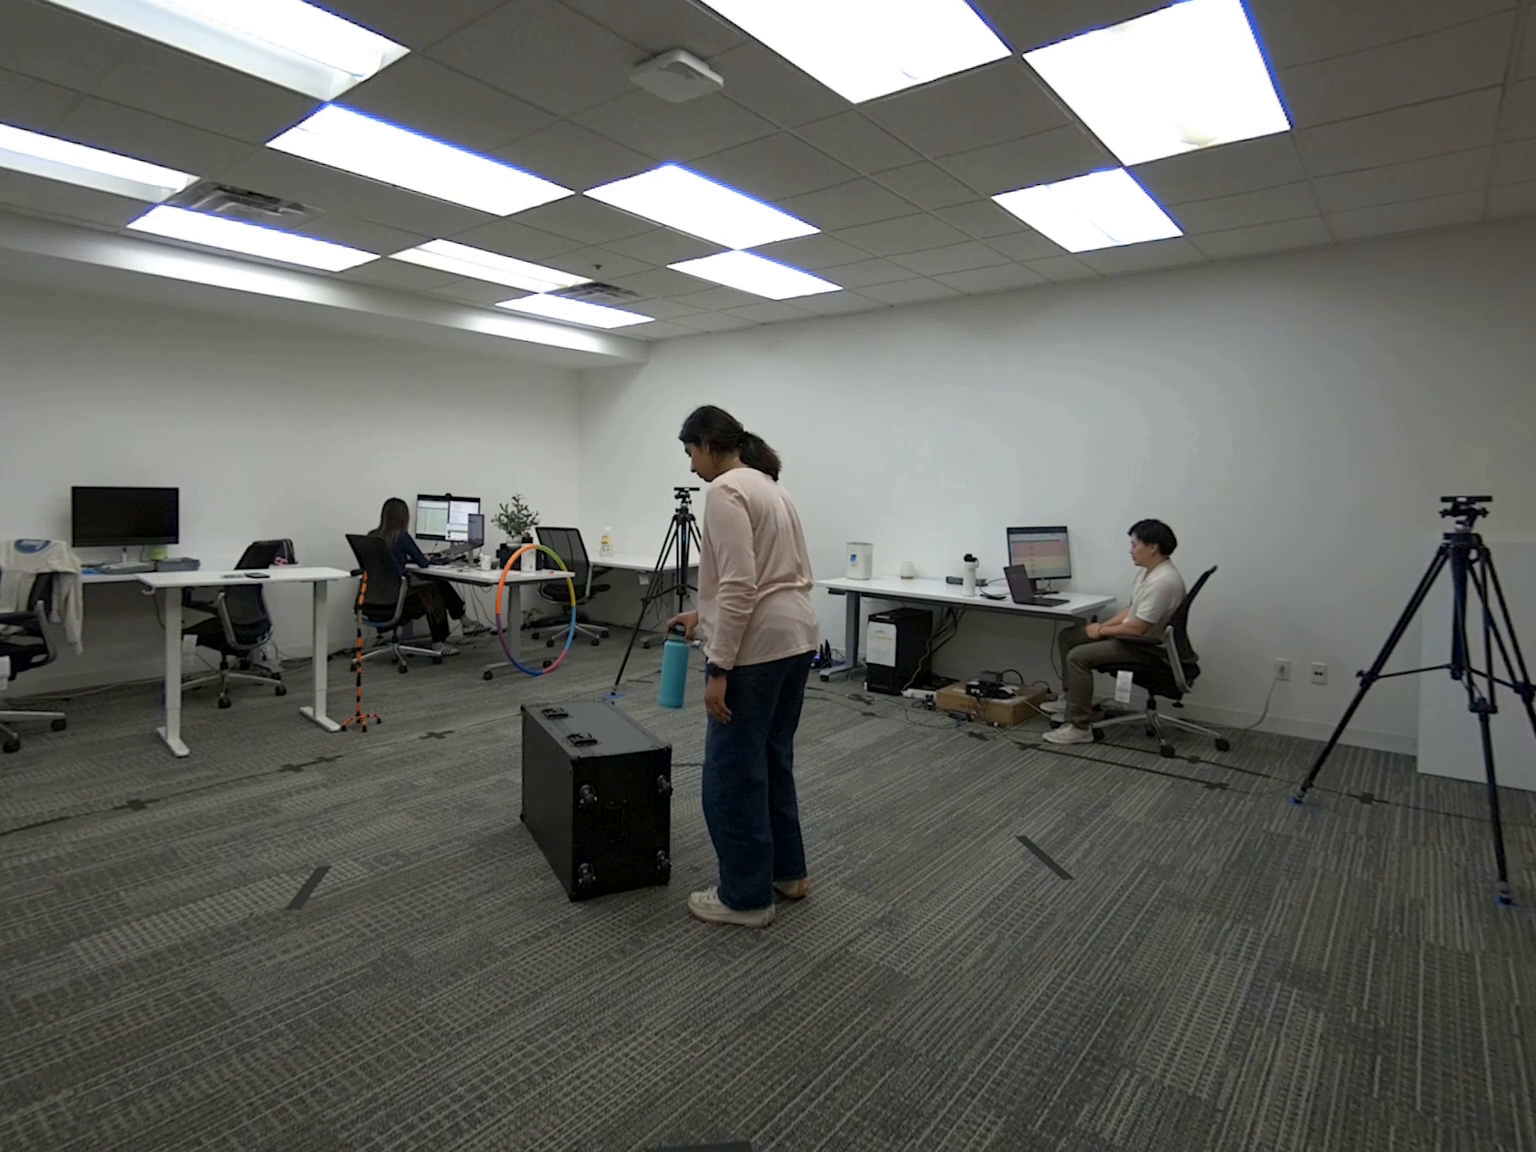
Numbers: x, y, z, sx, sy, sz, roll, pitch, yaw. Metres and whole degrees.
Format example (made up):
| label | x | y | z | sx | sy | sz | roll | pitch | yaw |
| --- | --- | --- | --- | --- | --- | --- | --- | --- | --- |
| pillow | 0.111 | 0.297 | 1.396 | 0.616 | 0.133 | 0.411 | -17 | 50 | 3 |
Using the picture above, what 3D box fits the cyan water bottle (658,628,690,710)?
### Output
| label | x | y | z | sx | sy | sz | roll | pitch | yaw |
| --- | --- | --- | --- | --- | --- | --- | --- | --- | --- |
| cyan water bottle | -0.335 | 0.309 | 2.971 | 0.092 | 0.283 | 0.092 | 5 | -1 | -2 |
